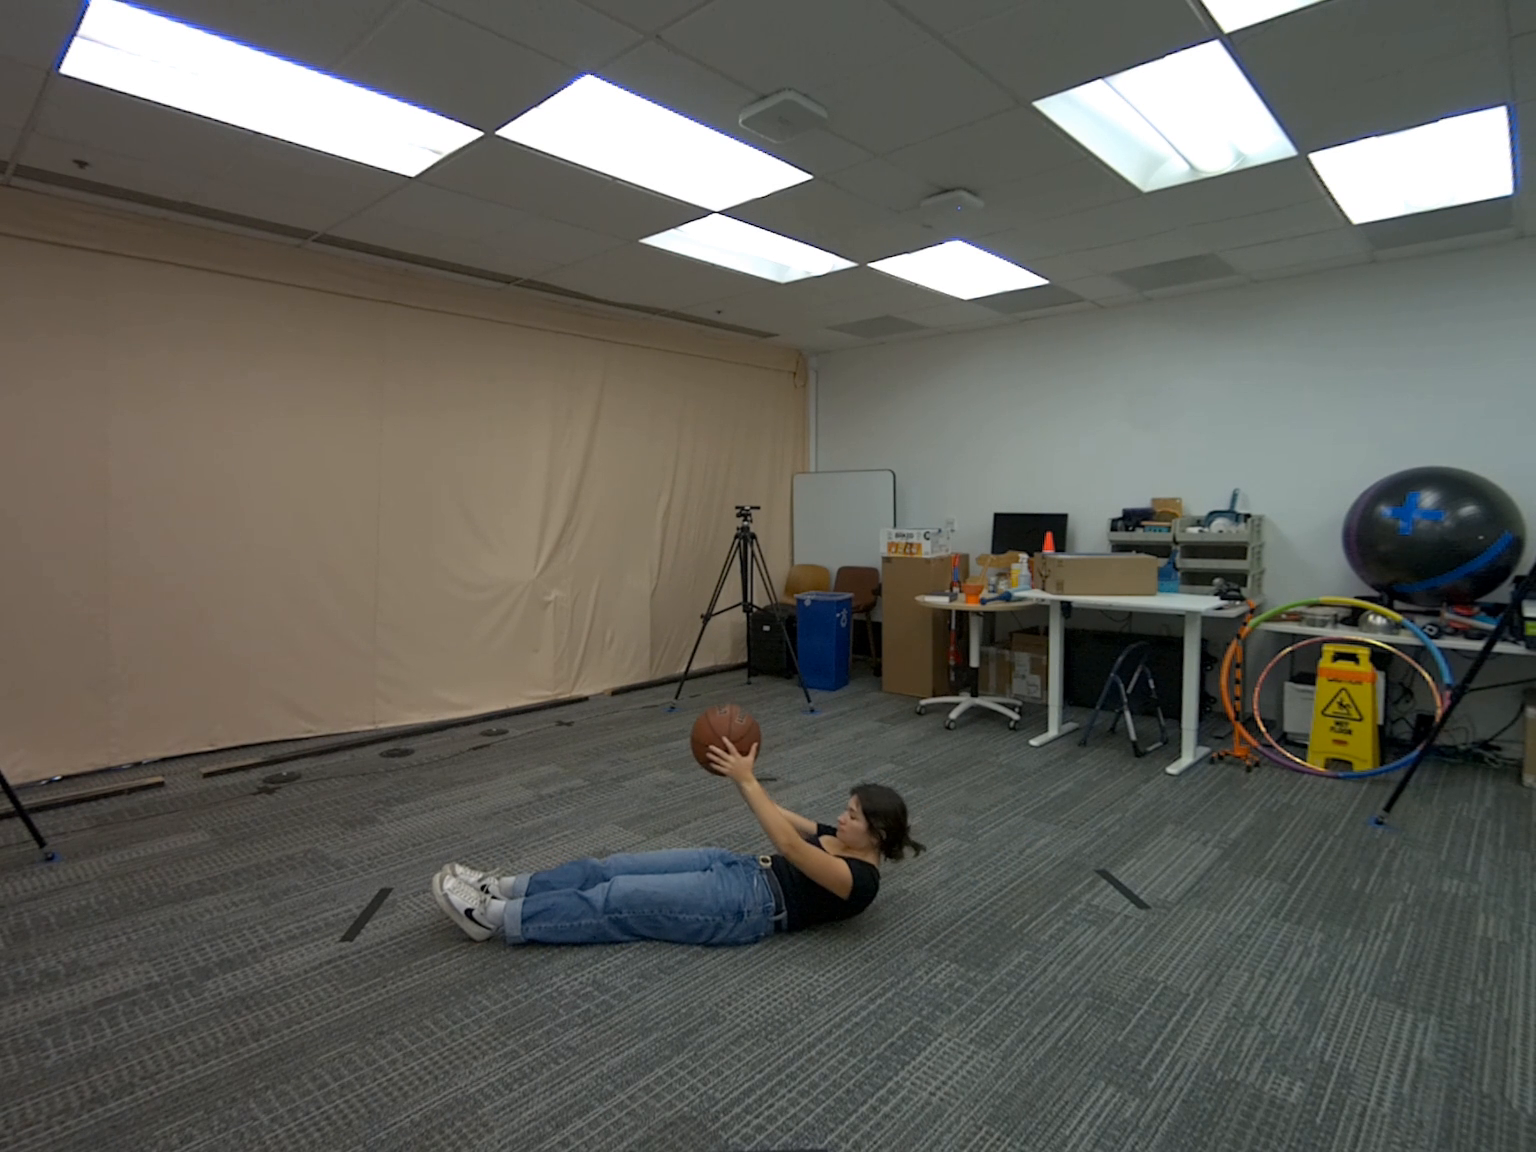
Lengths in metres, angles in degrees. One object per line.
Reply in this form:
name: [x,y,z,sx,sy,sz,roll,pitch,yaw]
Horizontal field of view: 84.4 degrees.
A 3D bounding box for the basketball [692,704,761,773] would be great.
basketball: [-0.105,0.541,2.823,0.236,0.235,0.237,0,4,-2]
